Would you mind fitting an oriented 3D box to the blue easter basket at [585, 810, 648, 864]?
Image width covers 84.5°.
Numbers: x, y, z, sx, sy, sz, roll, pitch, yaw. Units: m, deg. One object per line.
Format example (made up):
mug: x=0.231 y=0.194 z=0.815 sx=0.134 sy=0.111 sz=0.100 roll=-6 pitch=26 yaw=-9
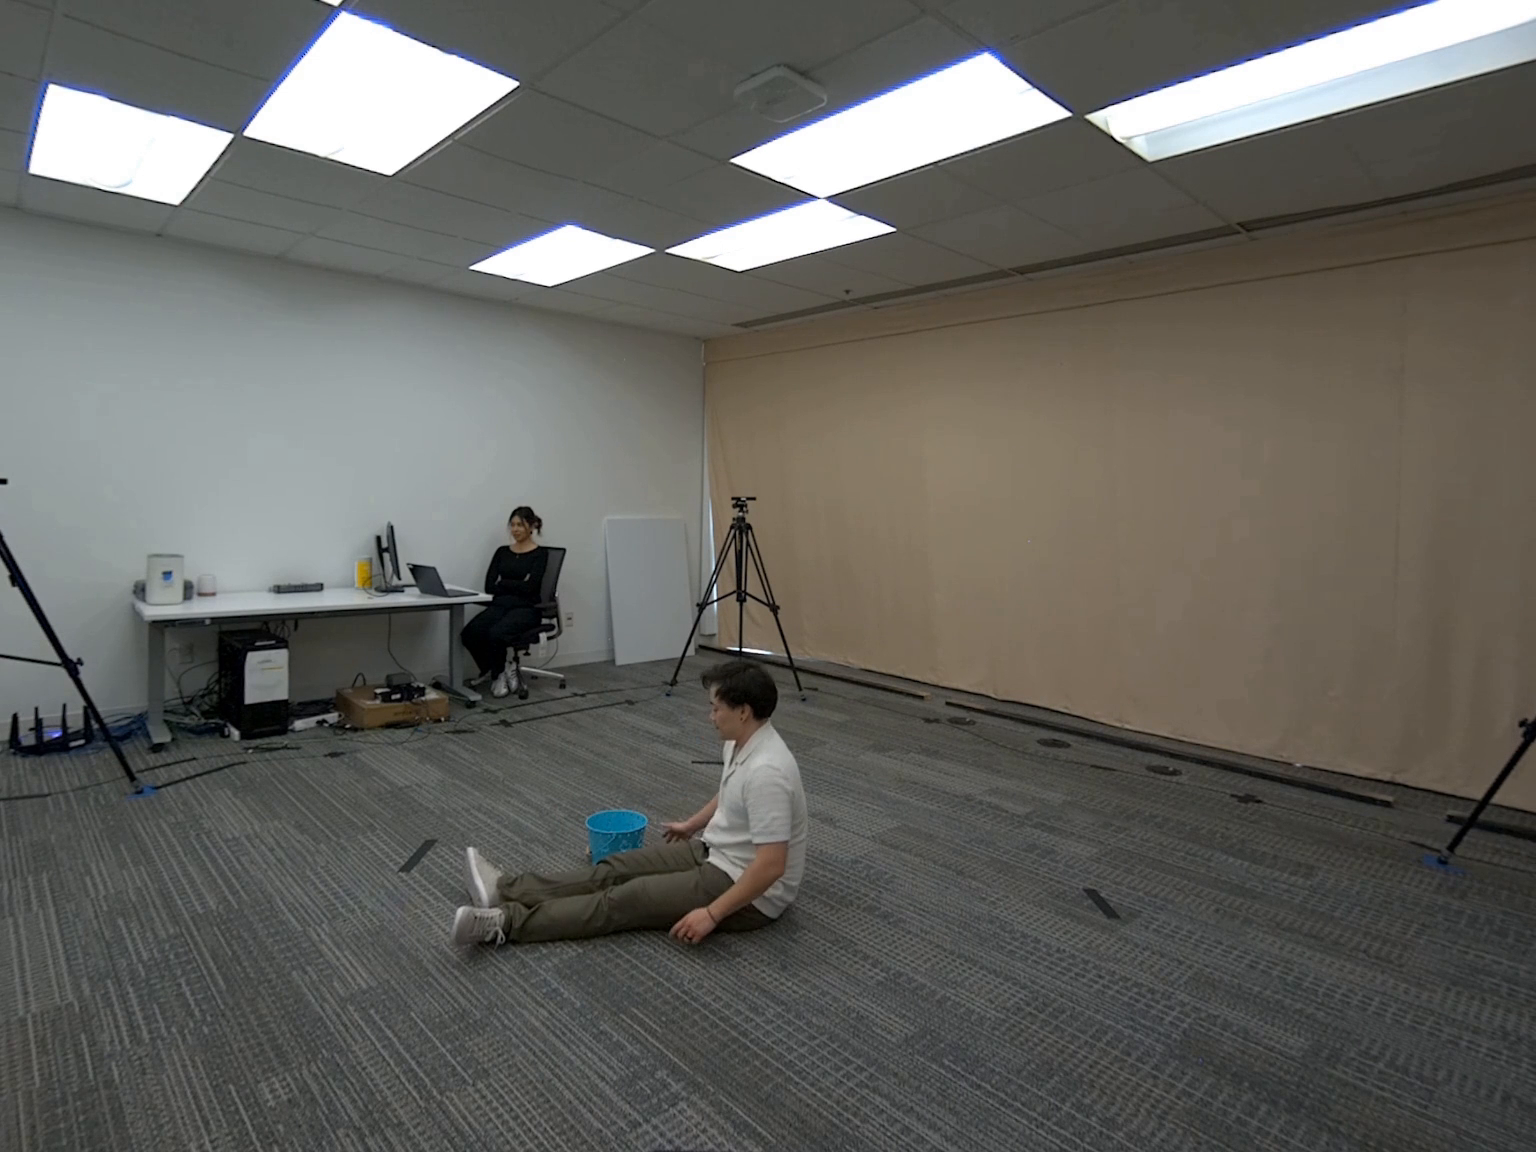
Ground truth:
blue easter basket: x=-0.596 y=1.009 z=3.218 sx=0.243 sy=0.155 sz=0.244 roll=4 pitch=3 yaw=-2
